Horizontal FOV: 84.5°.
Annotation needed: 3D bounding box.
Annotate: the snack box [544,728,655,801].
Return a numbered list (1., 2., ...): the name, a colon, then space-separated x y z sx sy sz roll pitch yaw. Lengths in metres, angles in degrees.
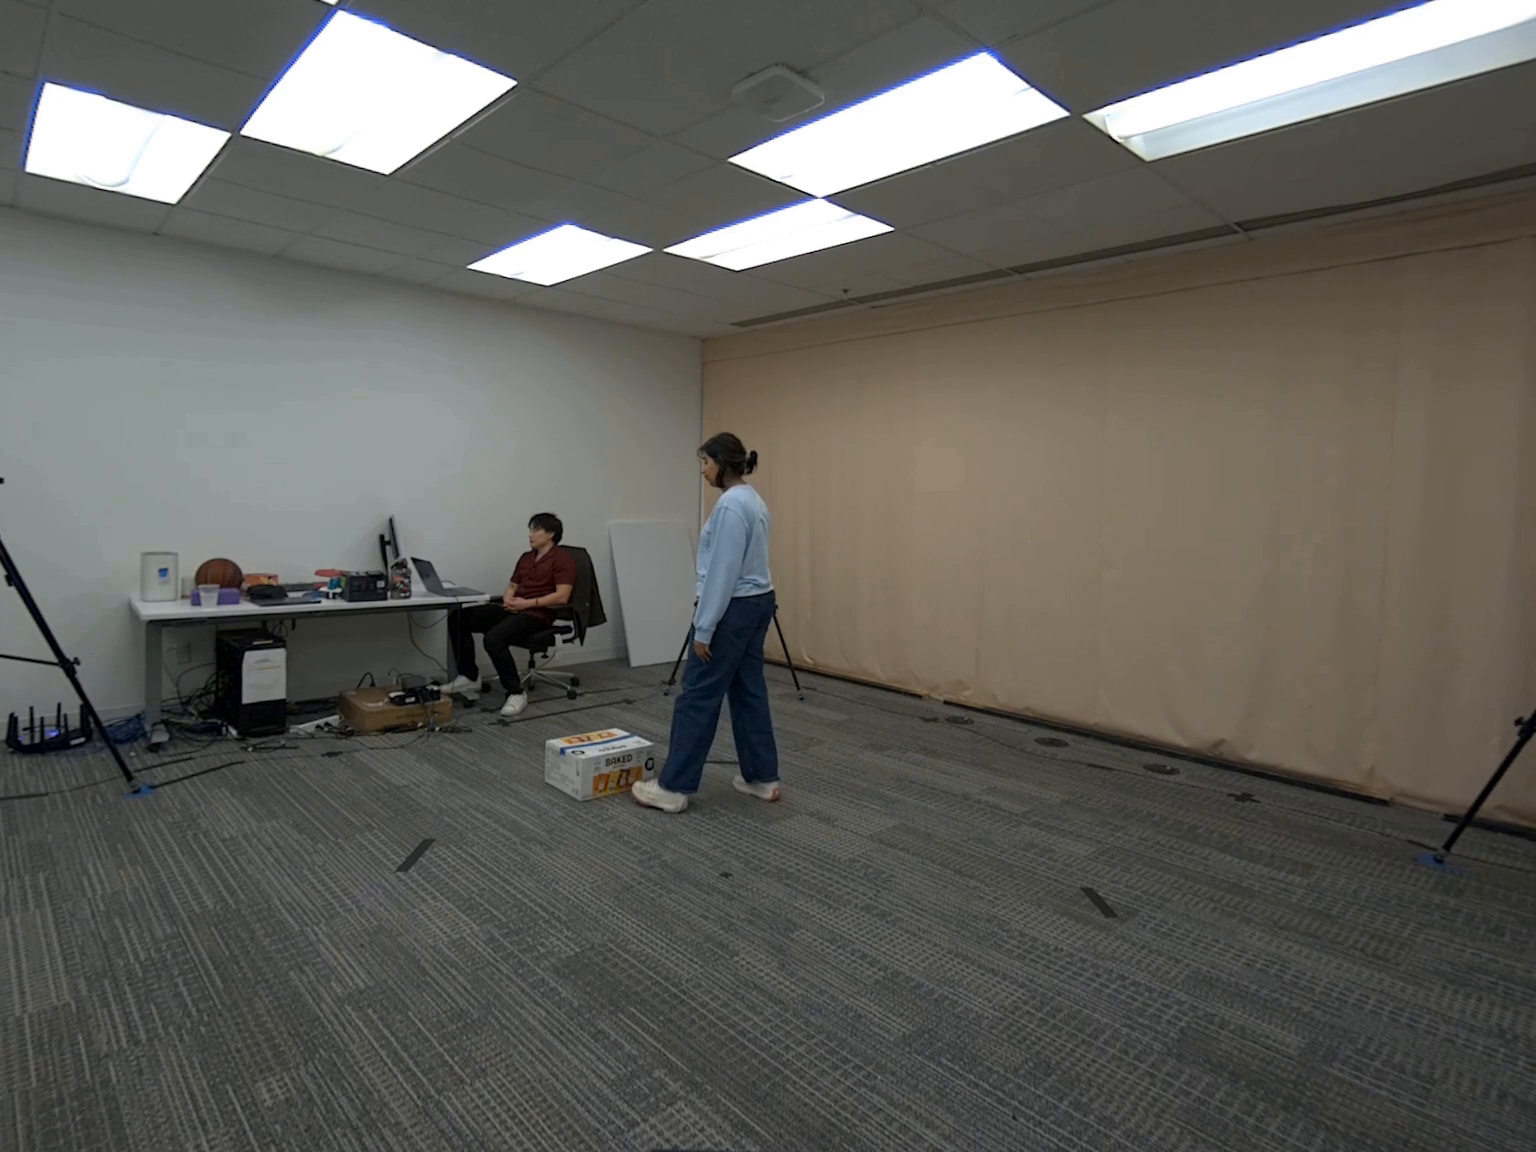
1. snack box: -0.820 0.899 4.060 0.396 0.205 0.349 -2 5 -42
